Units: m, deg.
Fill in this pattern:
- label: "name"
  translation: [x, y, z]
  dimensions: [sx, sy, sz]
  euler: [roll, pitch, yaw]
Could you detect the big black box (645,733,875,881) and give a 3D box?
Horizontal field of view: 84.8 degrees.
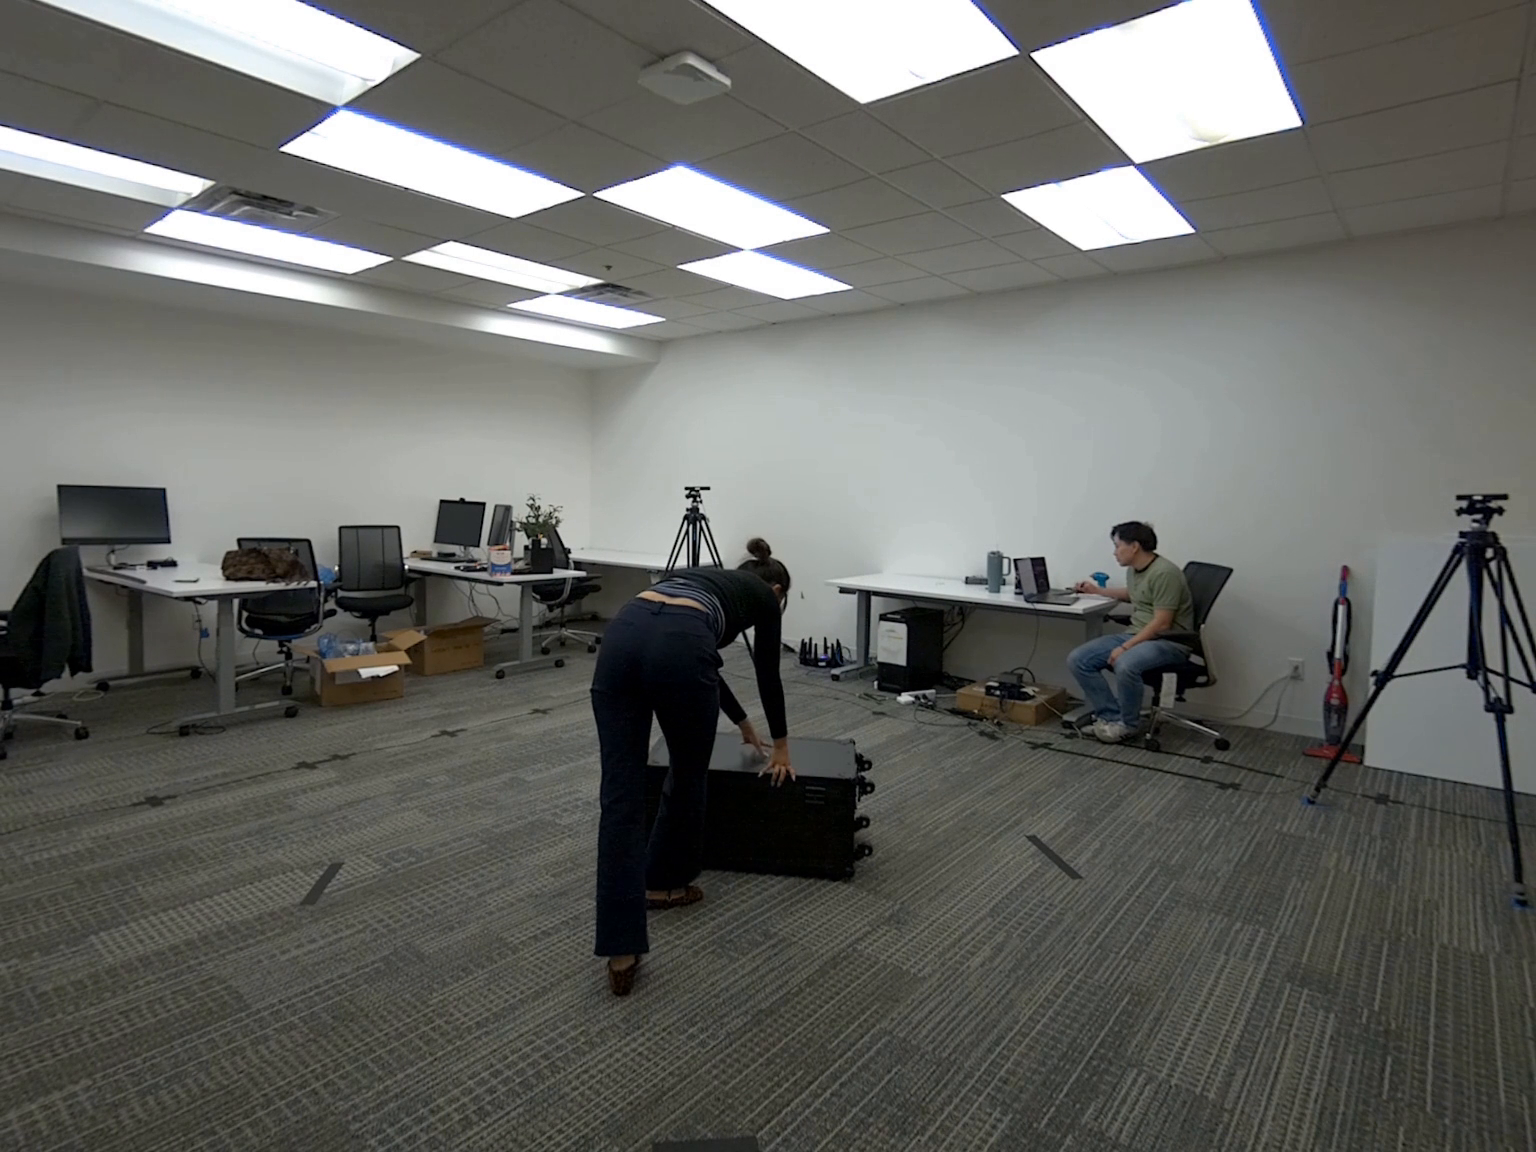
- label: "big black box"
  translation: [-0.034, 0.857, 3.281]
  dimensions: [0.869, 0.395, 0.518]
  euler: [1, 4, 8]
